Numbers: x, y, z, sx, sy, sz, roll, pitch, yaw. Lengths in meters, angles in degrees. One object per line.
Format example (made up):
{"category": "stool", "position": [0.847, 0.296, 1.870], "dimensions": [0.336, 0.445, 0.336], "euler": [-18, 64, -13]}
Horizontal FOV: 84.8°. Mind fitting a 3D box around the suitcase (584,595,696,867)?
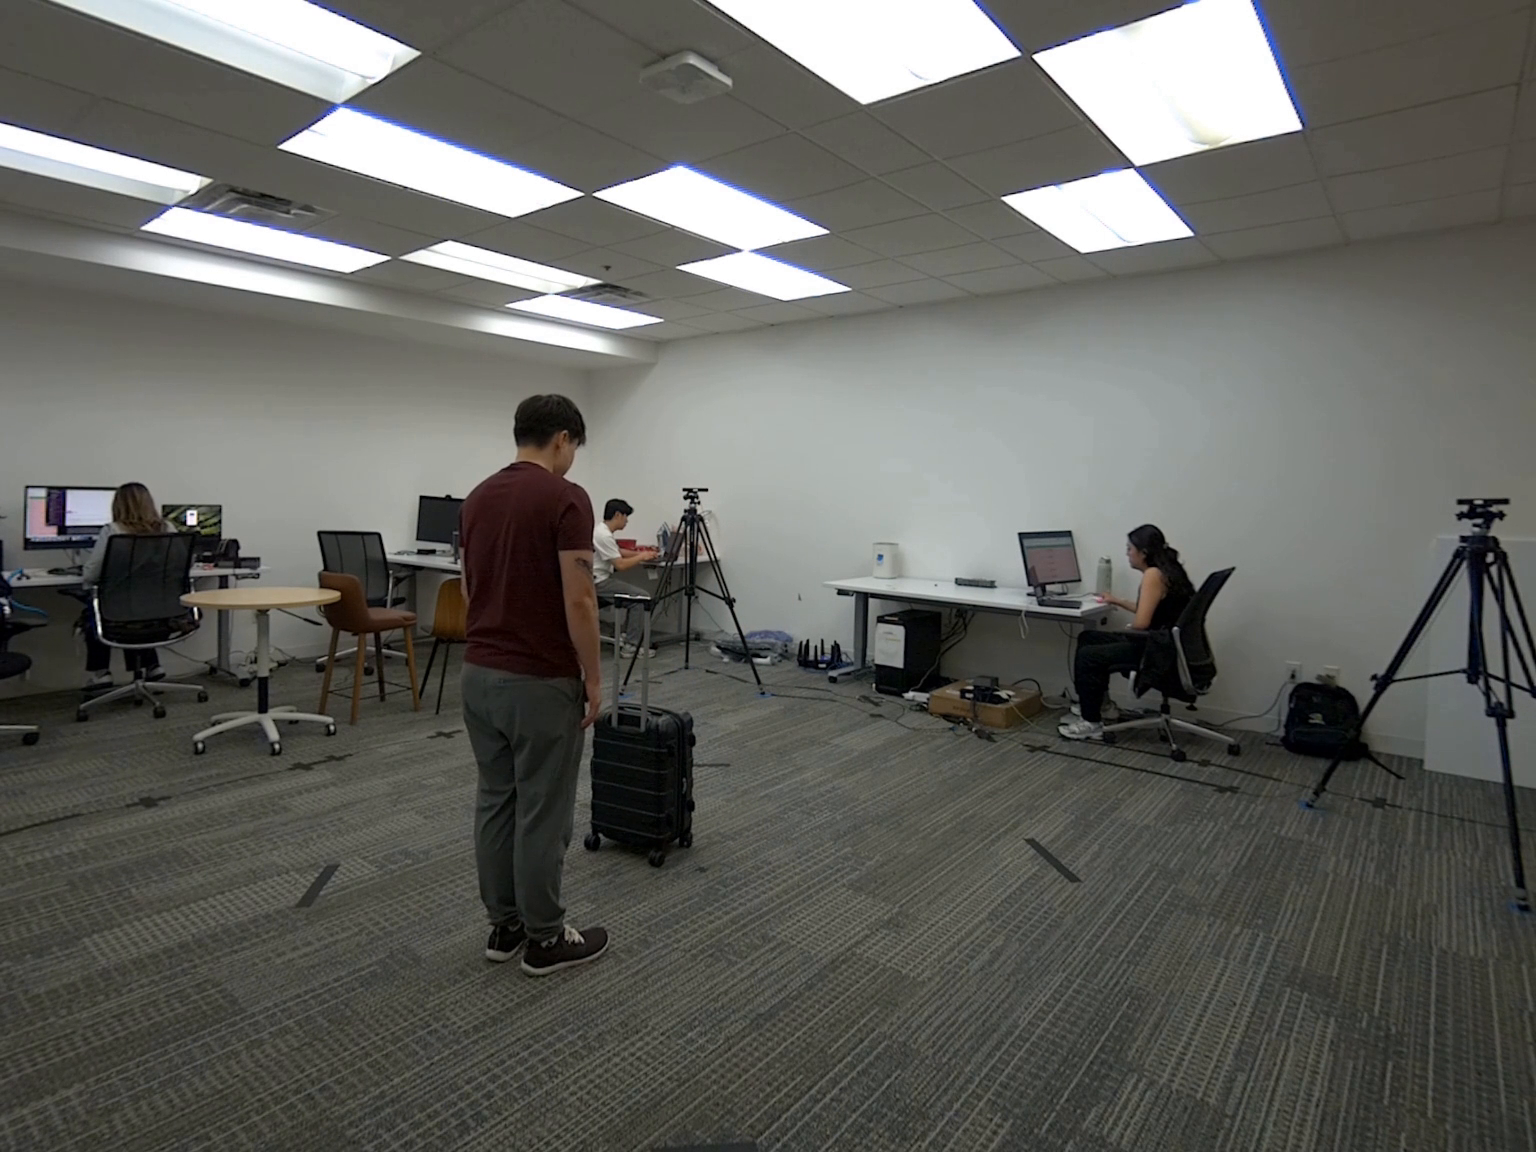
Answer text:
{"category": "suitcase", "position": [-0.491, 0.572, 3.304], "dimensions": [0.394, 0.979, 0.250], "euler": [1, -1, 26]}
